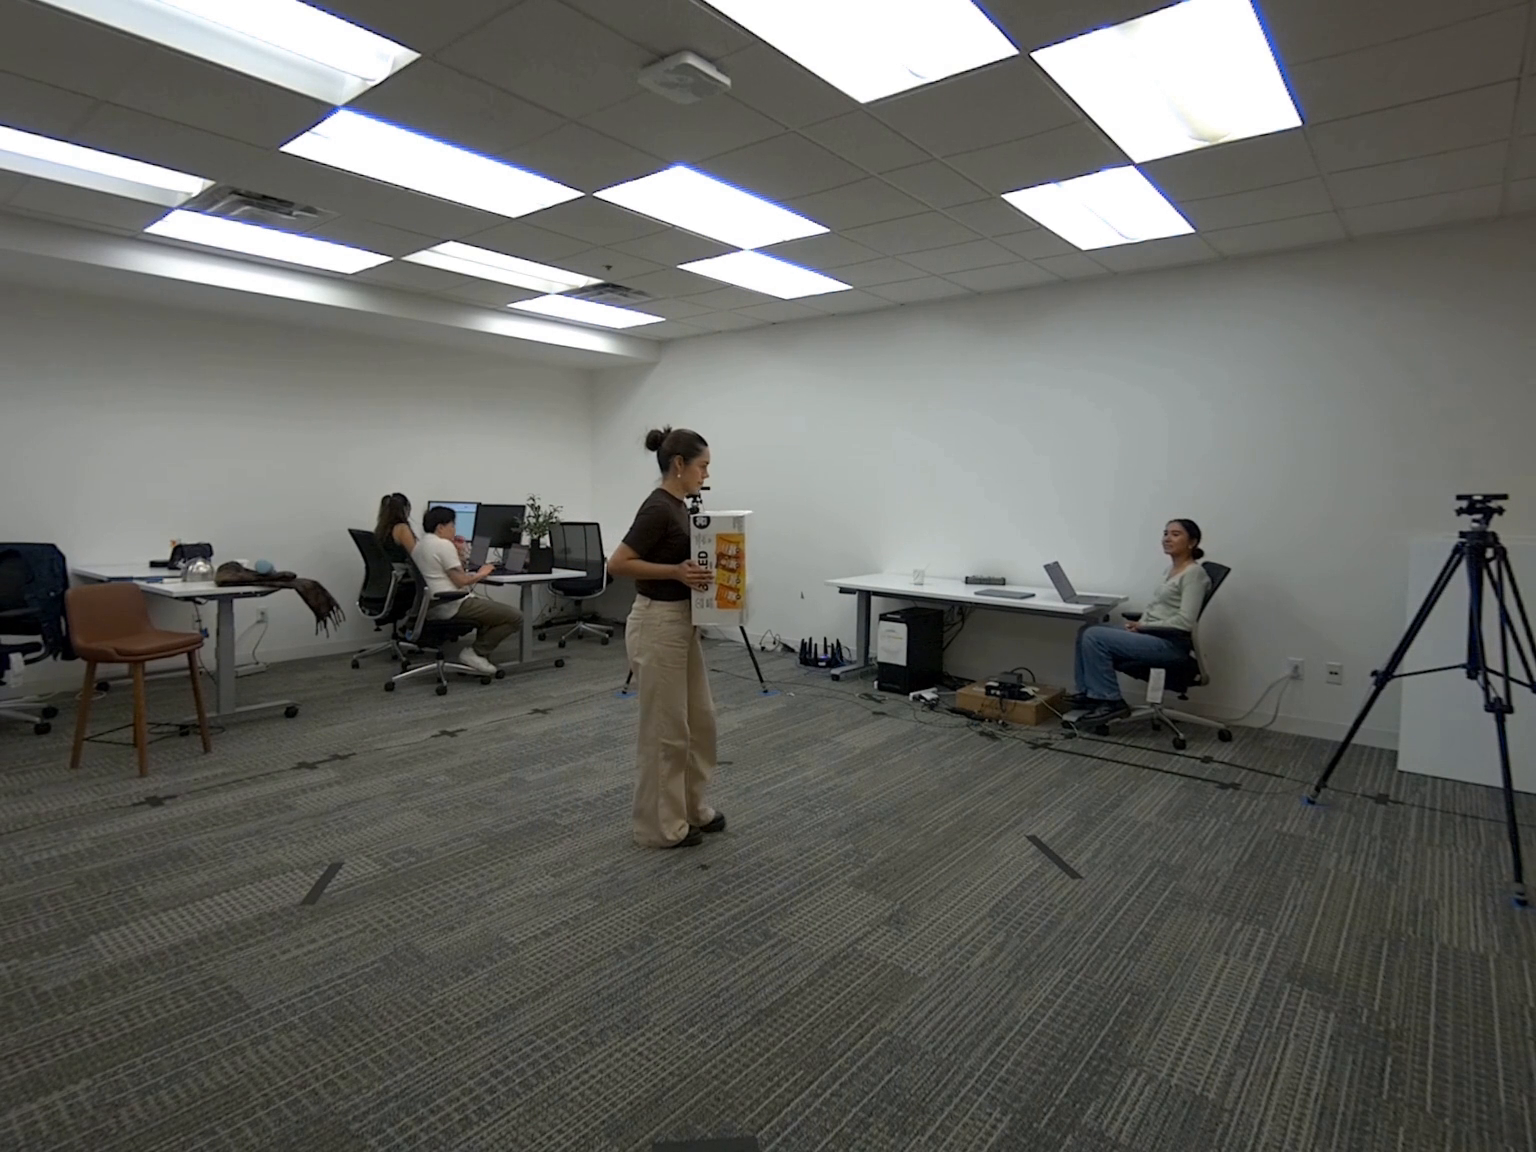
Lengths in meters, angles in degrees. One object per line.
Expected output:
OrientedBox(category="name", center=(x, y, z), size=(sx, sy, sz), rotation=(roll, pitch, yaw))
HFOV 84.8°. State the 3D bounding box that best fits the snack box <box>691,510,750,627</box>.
OrientedBox(category="snack box", center=(-0.175, -0.040, 3.270), size=(0.207, 0.403, 0.340), rotation=(0, 5, 5))
